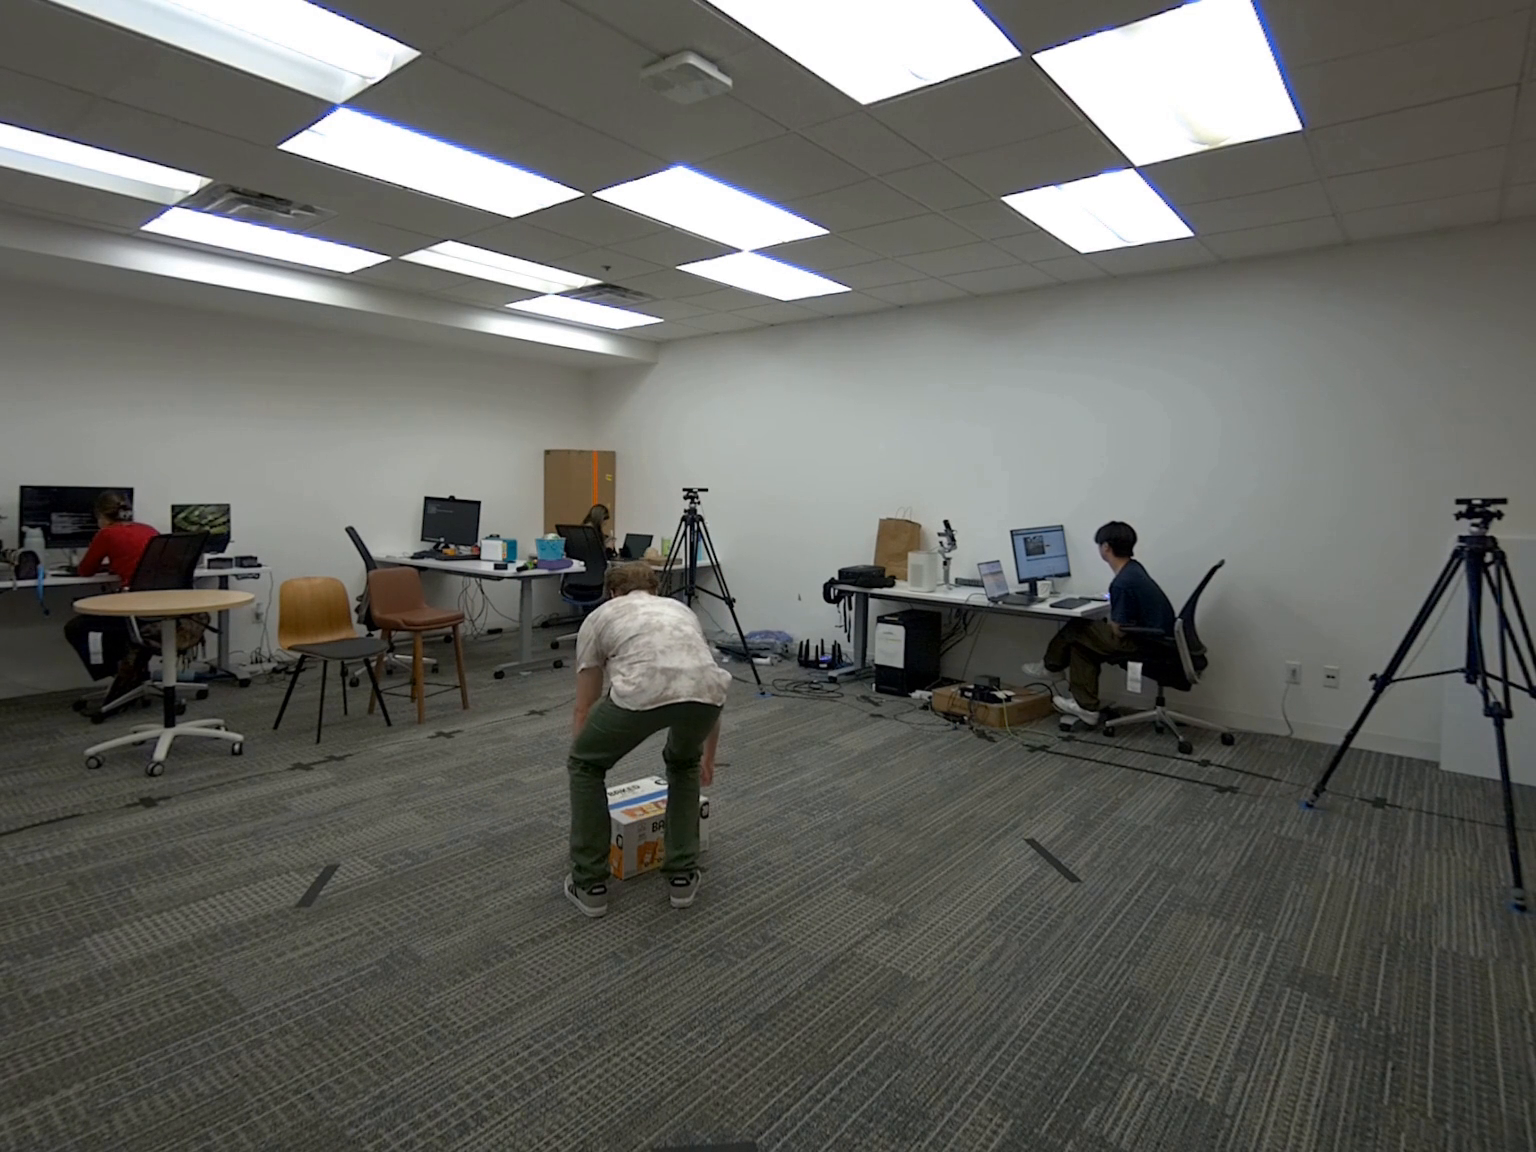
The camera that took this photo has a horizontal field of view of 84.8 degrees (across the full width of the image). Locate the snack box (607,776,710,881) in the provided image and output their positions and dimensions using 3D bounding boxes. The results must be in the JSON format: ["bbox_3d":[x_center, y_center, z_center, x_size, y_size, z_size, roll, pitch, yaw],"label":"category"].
[{"bbox_3d":[-0.498,0.950,3.257,0.393,0.205,0.352,-4,7,-43],"label":"snack box"}]
